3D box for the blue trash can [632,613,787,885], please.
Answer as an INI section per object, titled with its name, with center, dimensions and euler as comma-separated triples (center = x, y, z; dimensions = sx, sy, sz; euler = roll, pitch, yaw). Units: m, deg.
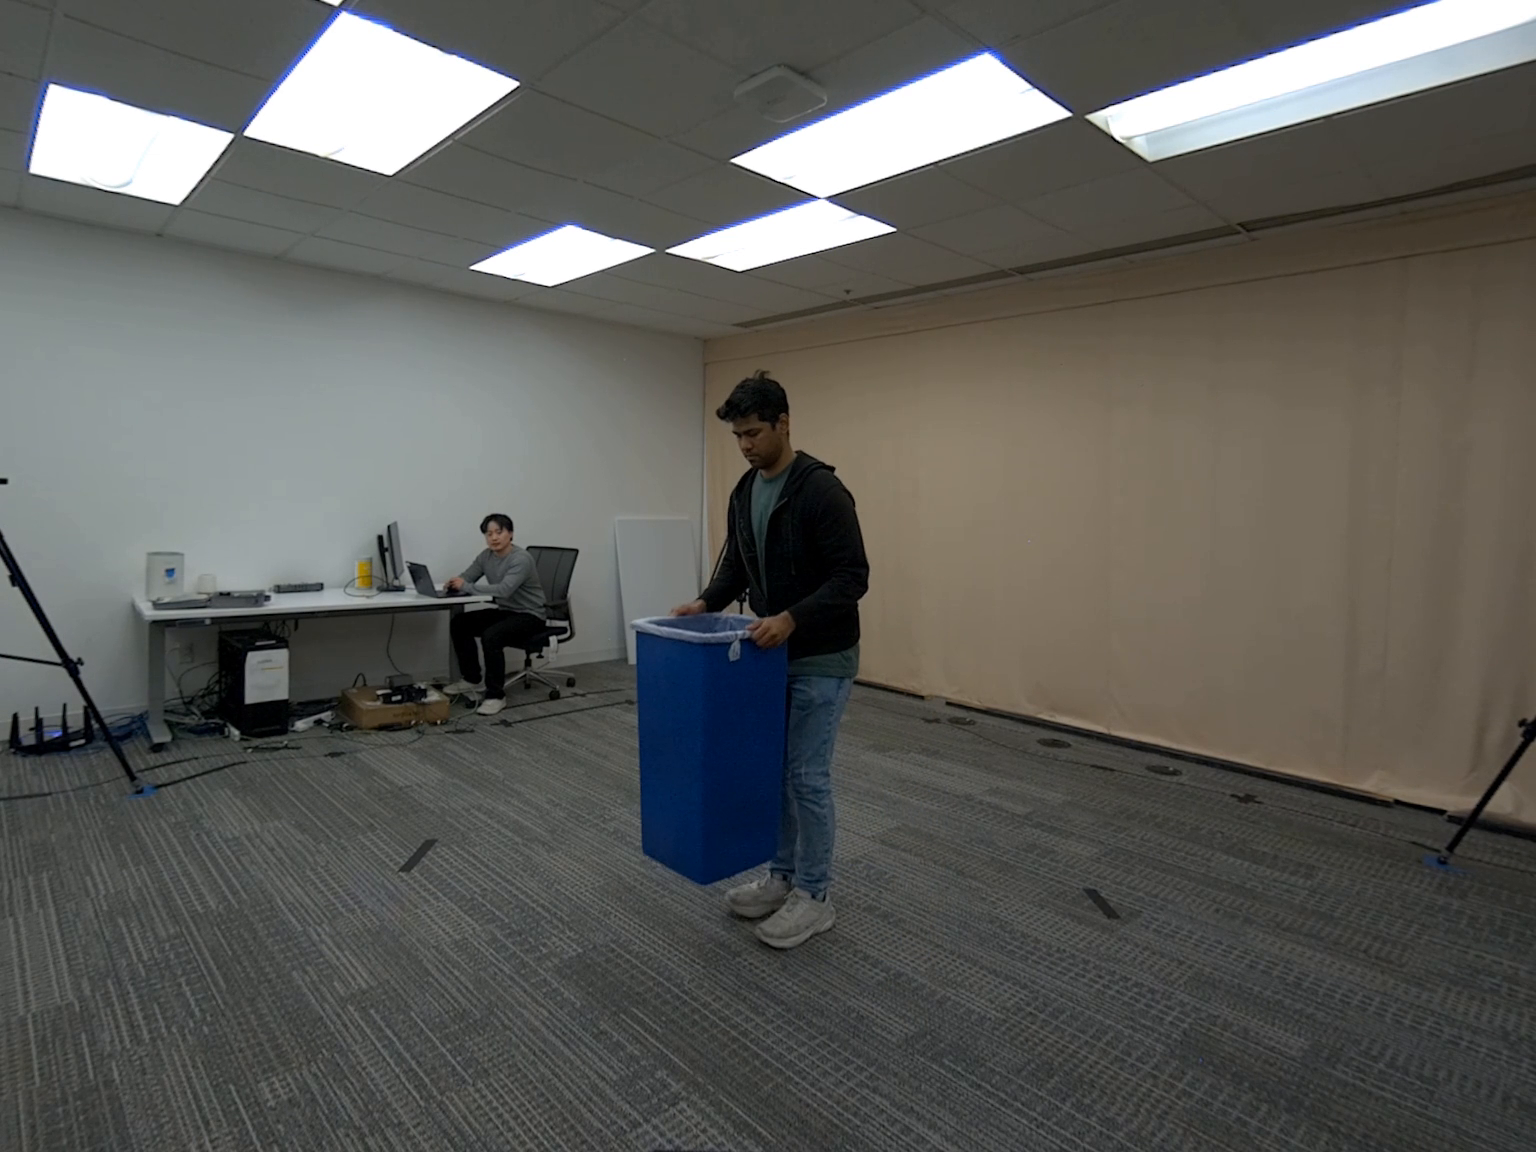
[blue trash can]
center = -0.188, 0.511, 2.538
dimensions = 0.369, 0.712, 0.383
euler = -2, 4, -44
